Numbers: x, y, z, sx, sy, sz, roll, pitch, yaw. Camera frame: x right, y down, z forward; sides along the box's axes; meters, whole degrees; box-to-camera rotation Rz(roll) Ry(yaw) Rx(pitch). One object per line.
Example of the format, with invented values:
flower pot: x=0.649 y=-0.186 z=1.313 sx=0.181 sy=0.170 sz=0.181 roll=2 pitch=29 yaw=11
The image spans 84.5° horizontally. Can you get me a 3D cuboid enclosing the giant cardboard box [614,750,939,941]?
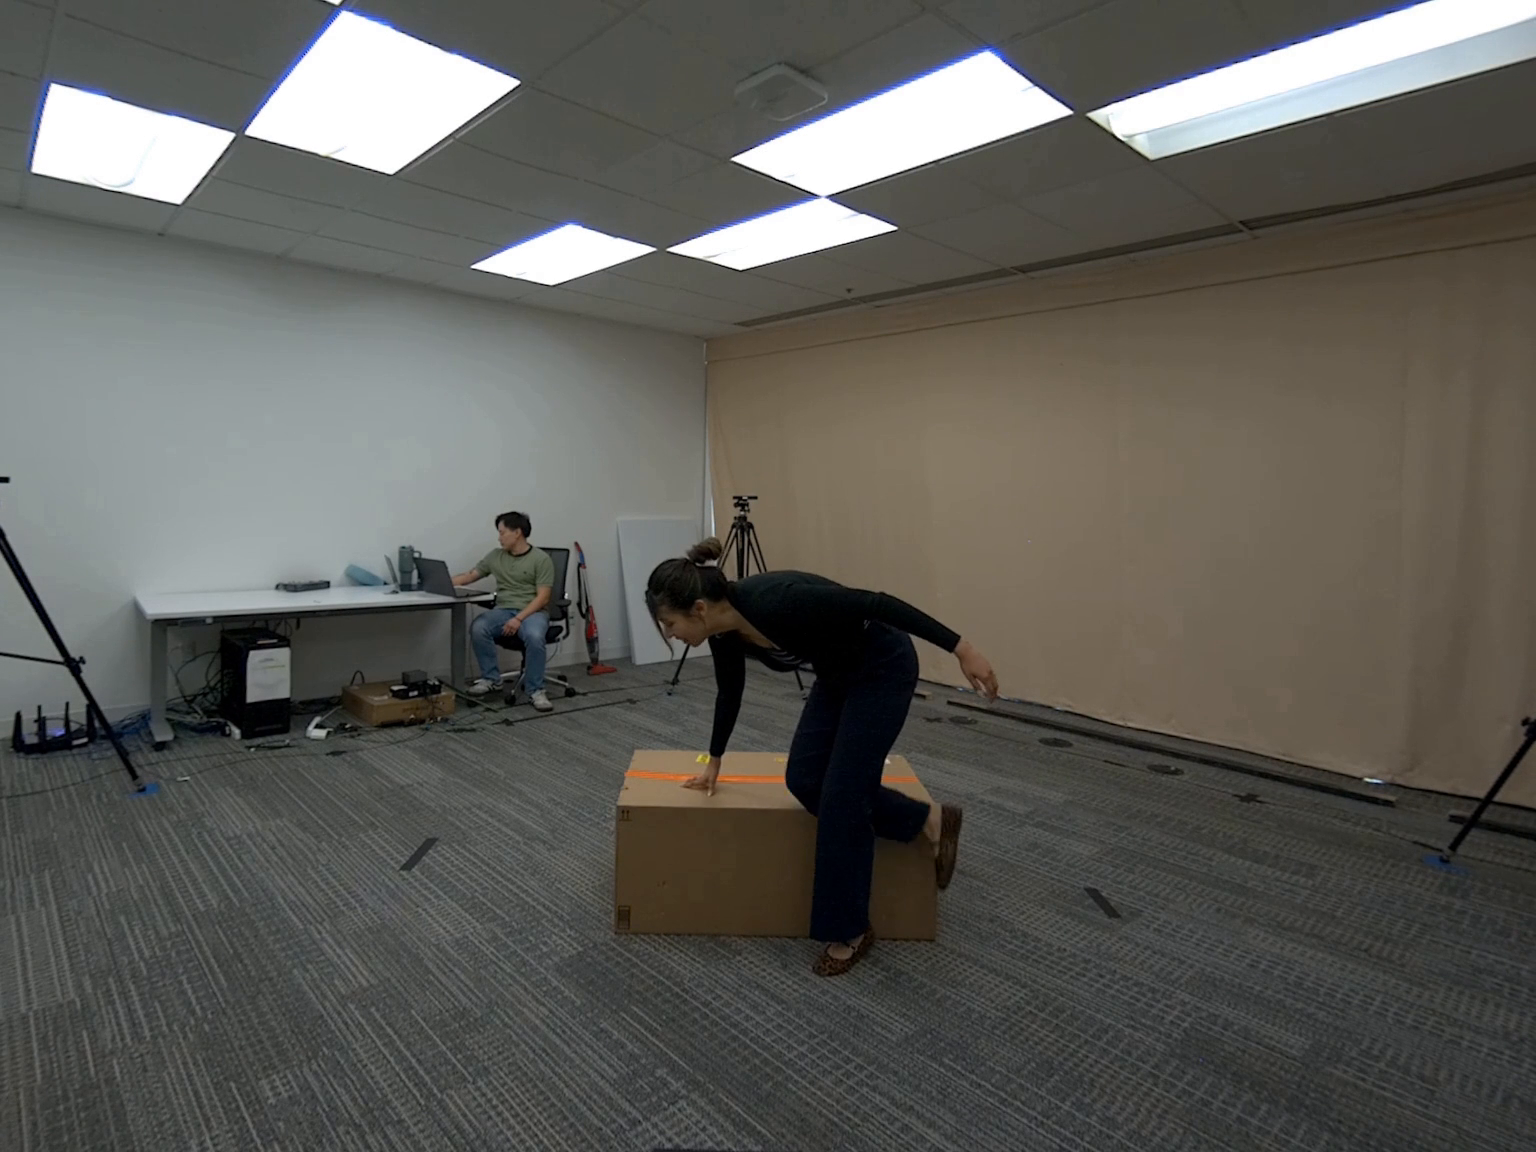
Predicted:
giant cardboard box: x=0.007 y=0.908 z=2.935 sx=1.025 sy=0.425 sz=0.579 roll=1 pitch=4 yaw=-1
